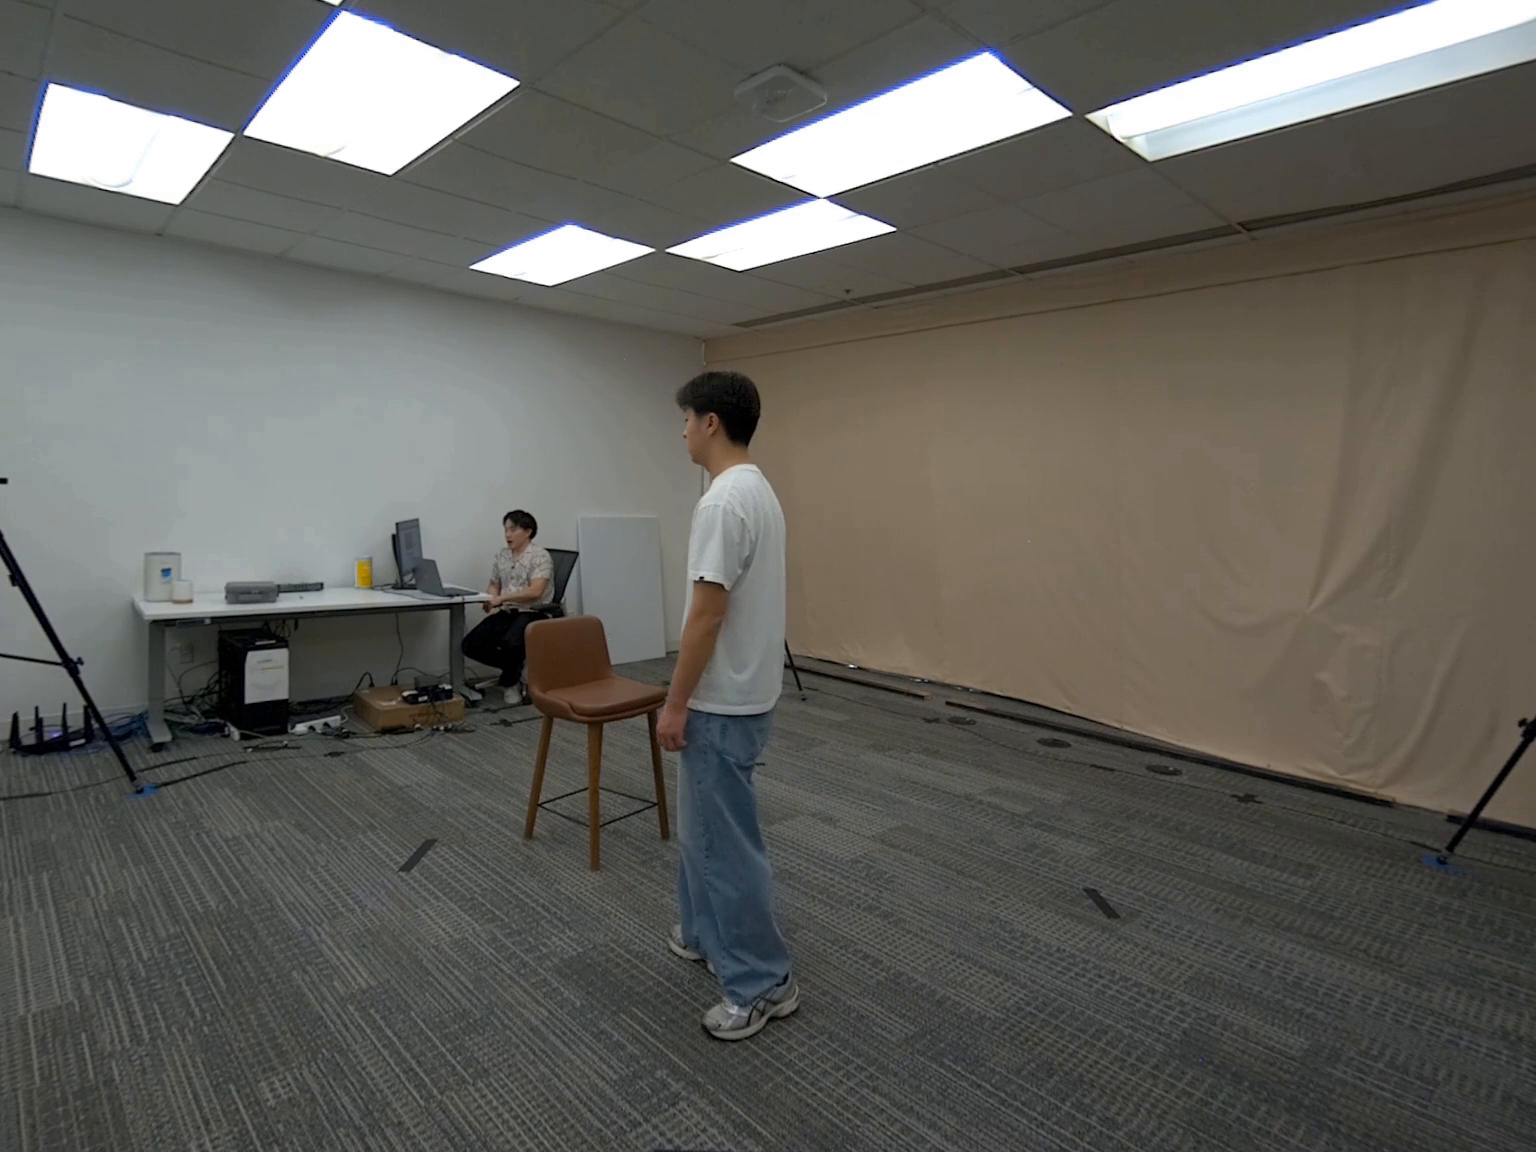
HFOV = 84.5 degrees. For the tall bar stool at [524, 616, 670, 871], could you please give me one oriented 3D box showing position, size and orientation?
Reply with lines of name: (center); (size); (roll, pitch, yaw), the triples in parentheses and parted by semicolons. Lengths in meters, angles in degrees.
tall bar stool: (-0.703, 0.634, 3.393); (0.479, 0.889, 0.446); (1, 2, 39)
